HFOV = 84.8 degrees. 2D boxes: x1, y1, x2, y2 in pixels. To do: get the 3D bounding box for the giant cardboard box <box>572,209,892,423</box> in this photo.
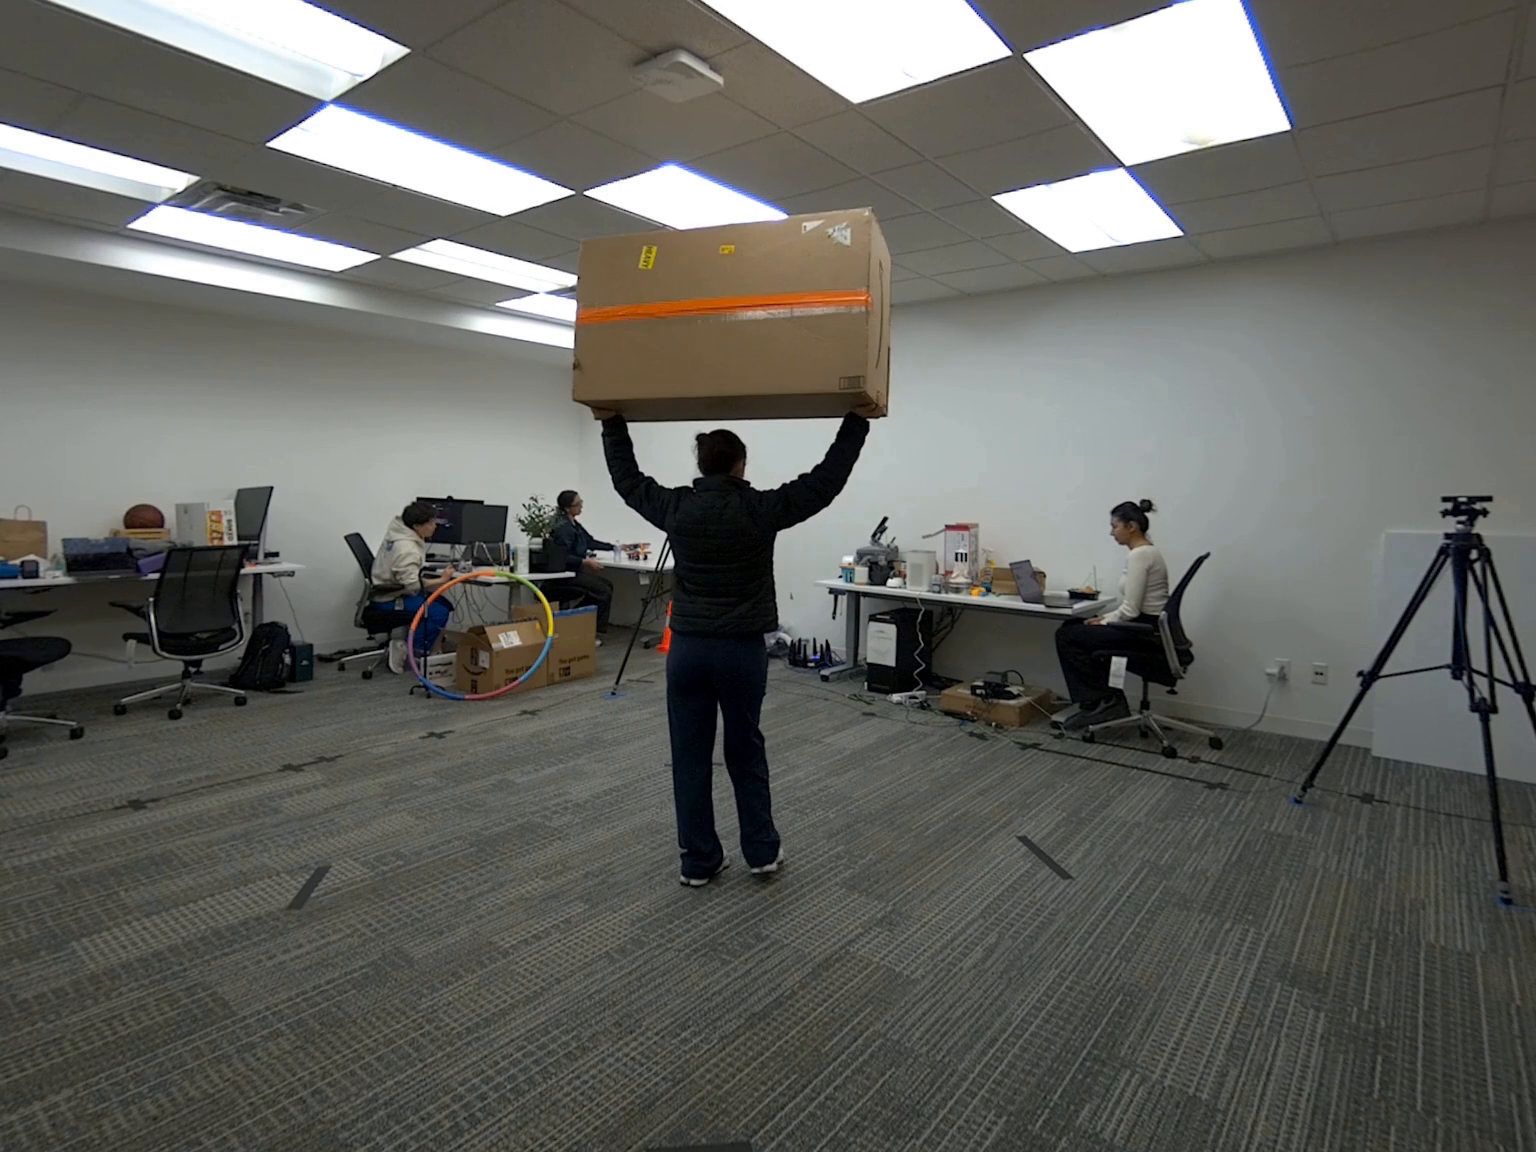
[{"bbox_3d":[-0.108,-0.863,2.979,1.048,0.585,0.437,2,-2,19],"label":"giant cardboard box"}]
